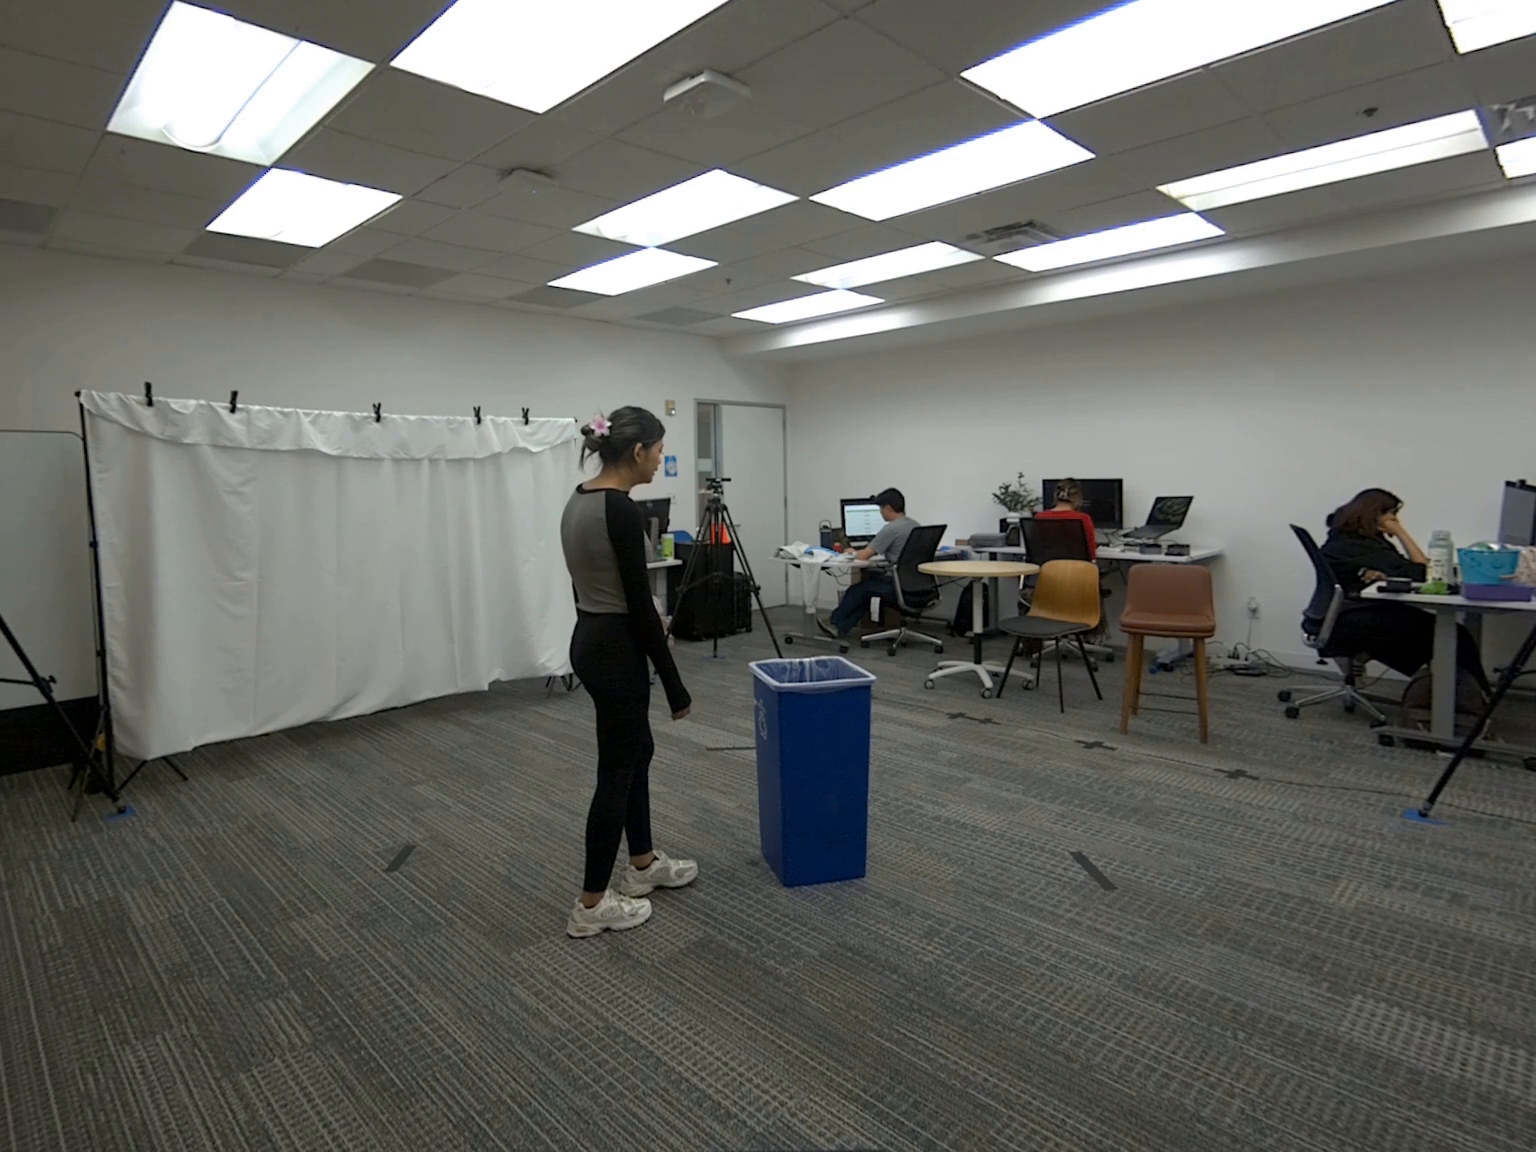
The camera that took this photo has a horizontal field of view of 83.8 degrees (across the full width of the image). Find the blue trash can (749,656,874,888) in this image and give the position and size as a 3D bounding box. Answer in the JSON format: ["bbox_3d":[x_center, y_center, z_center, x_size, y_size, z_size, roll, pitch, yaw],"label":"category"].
[{"bbox_3d":[0.160,0.686,3.060,0.373,0.711,0.381,-2,5,-15],"label":"blue trash can"}]
